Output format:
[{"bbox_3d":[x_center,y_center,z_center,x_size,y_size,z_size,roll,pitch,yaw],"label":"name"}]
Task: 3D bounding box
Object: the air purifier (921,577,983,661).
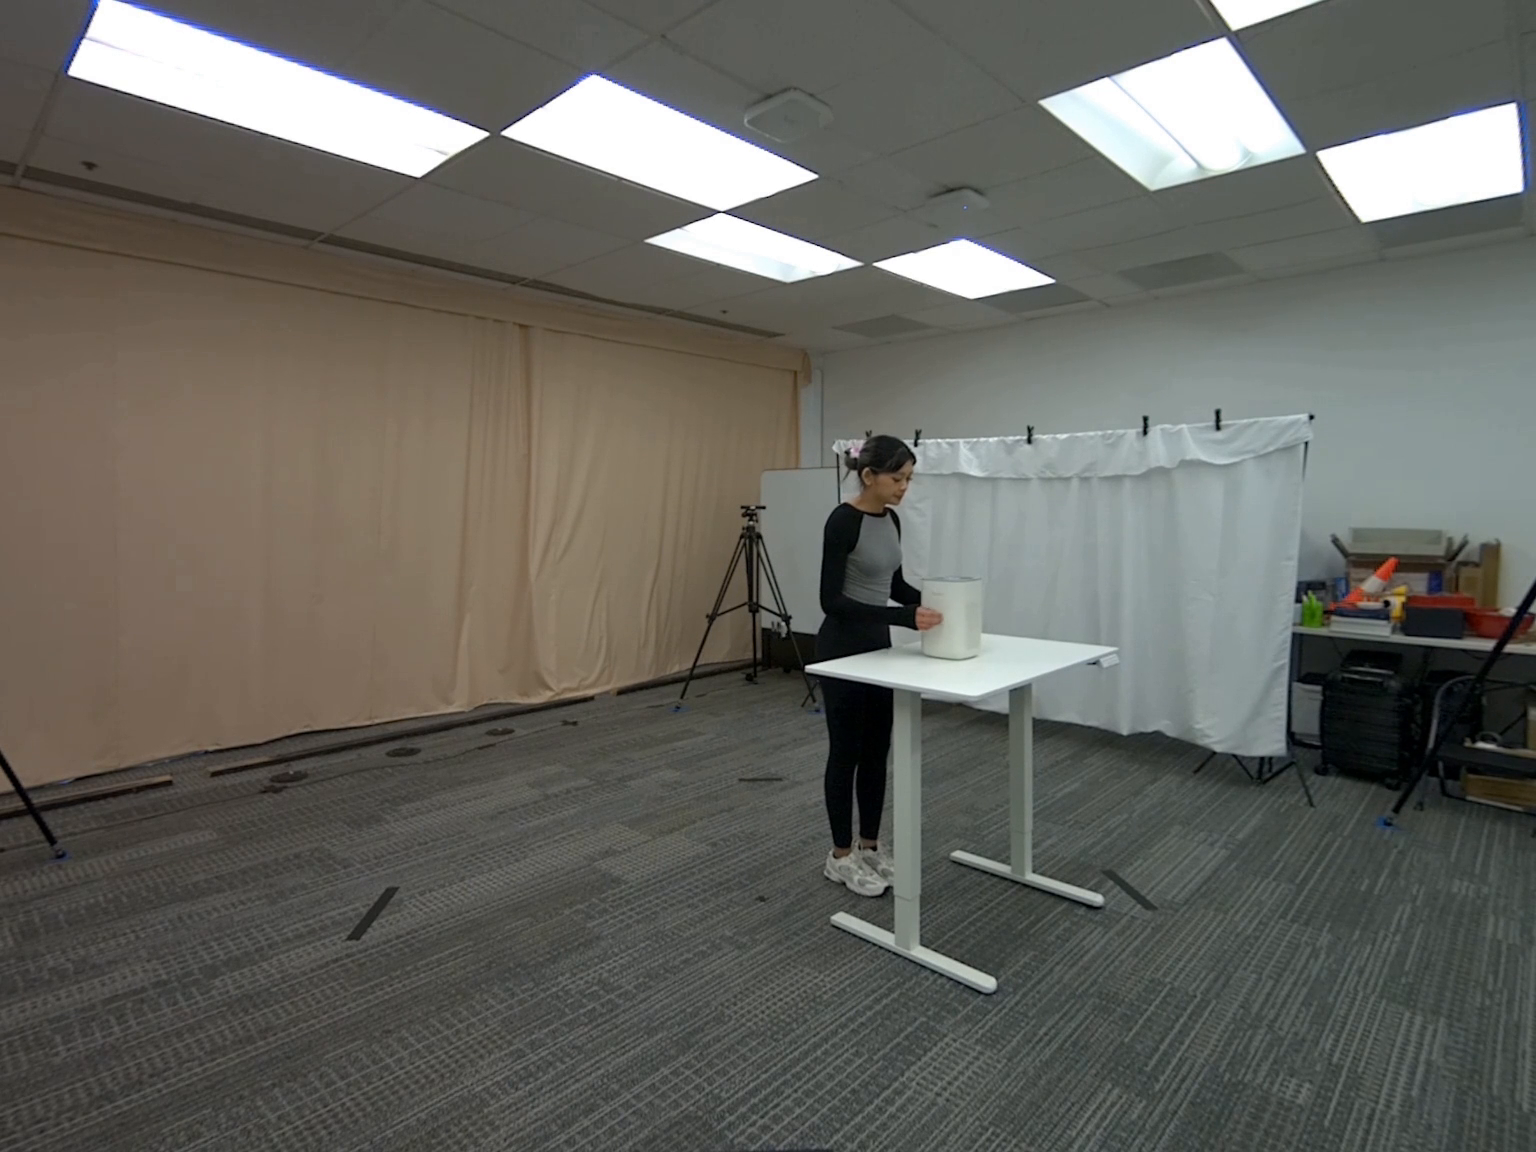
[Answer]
[{"bbox_3d":[0.627,0.141,2.837,0.177,0.265,0.166,3,5,43],"label":"air purifier"}]
